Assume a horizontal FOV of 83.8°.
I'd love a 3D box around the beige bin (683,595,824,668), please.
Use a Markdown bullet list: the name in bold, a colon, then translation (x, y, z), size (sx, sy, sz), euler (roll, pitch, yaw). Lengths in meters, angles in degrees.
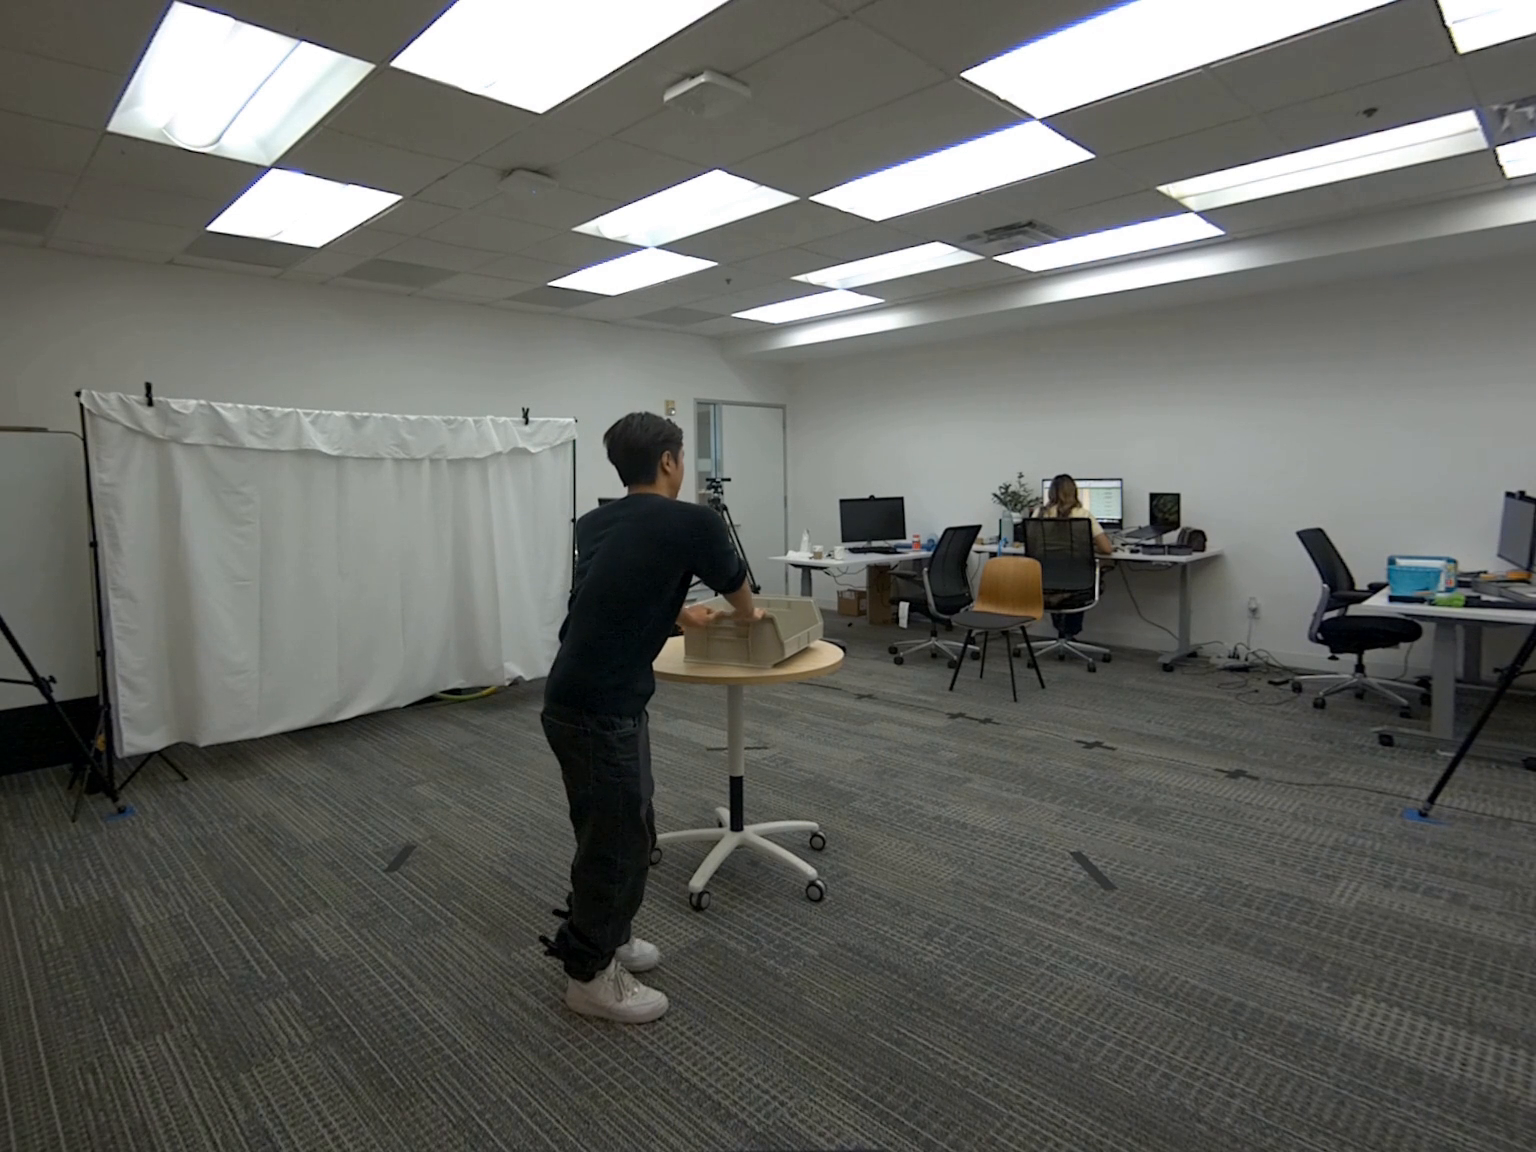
- **beige bin**: translation (-0.053, 0.182, 2.981), size (0.385, 0.188, 0.415), euler (-1, 5, 23)
